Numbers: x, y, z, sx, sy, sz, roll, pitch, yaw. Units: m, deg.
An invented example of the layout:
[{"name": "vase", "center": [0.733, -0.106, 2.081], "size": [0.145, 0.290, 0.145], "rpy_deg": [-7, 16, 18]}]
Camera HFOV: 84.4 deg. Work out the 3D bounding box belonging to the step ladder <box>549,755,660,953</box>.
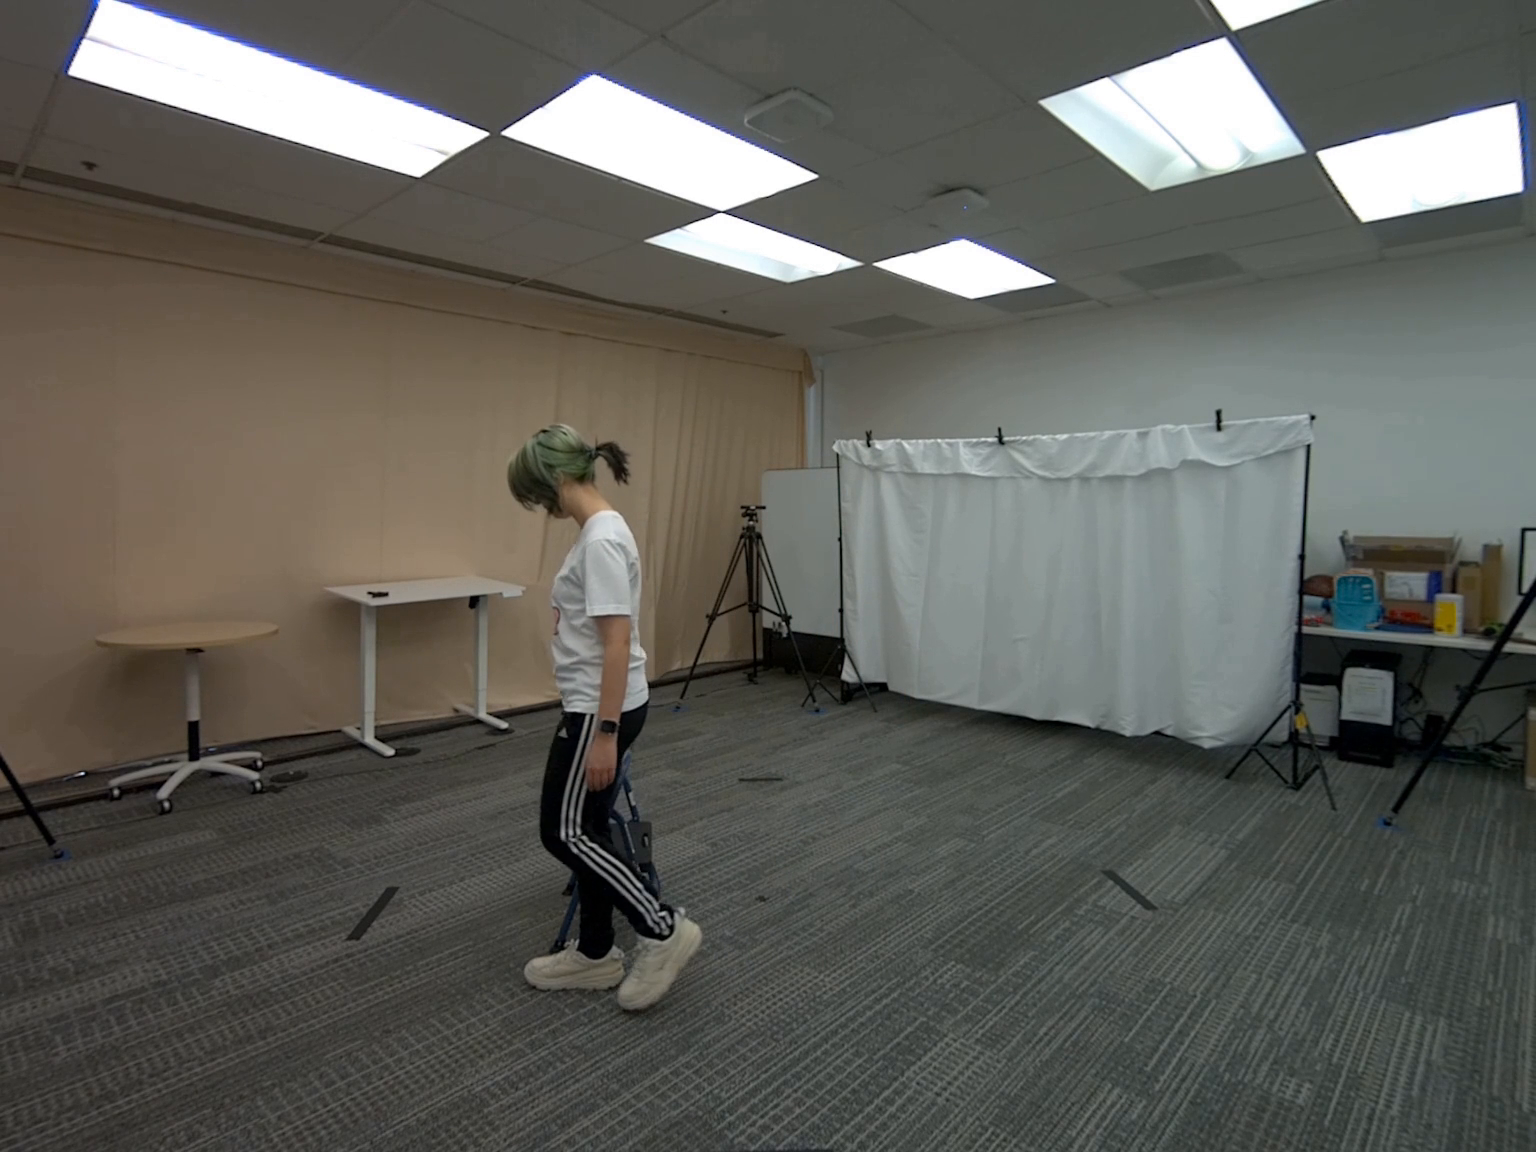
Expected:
[{"name": "step ladder", "center": [-0.539, 0.859, 2.836], "size": [0.347, 0.604, 0.435], "rpy_deg": [-1, 4, -8]}]
